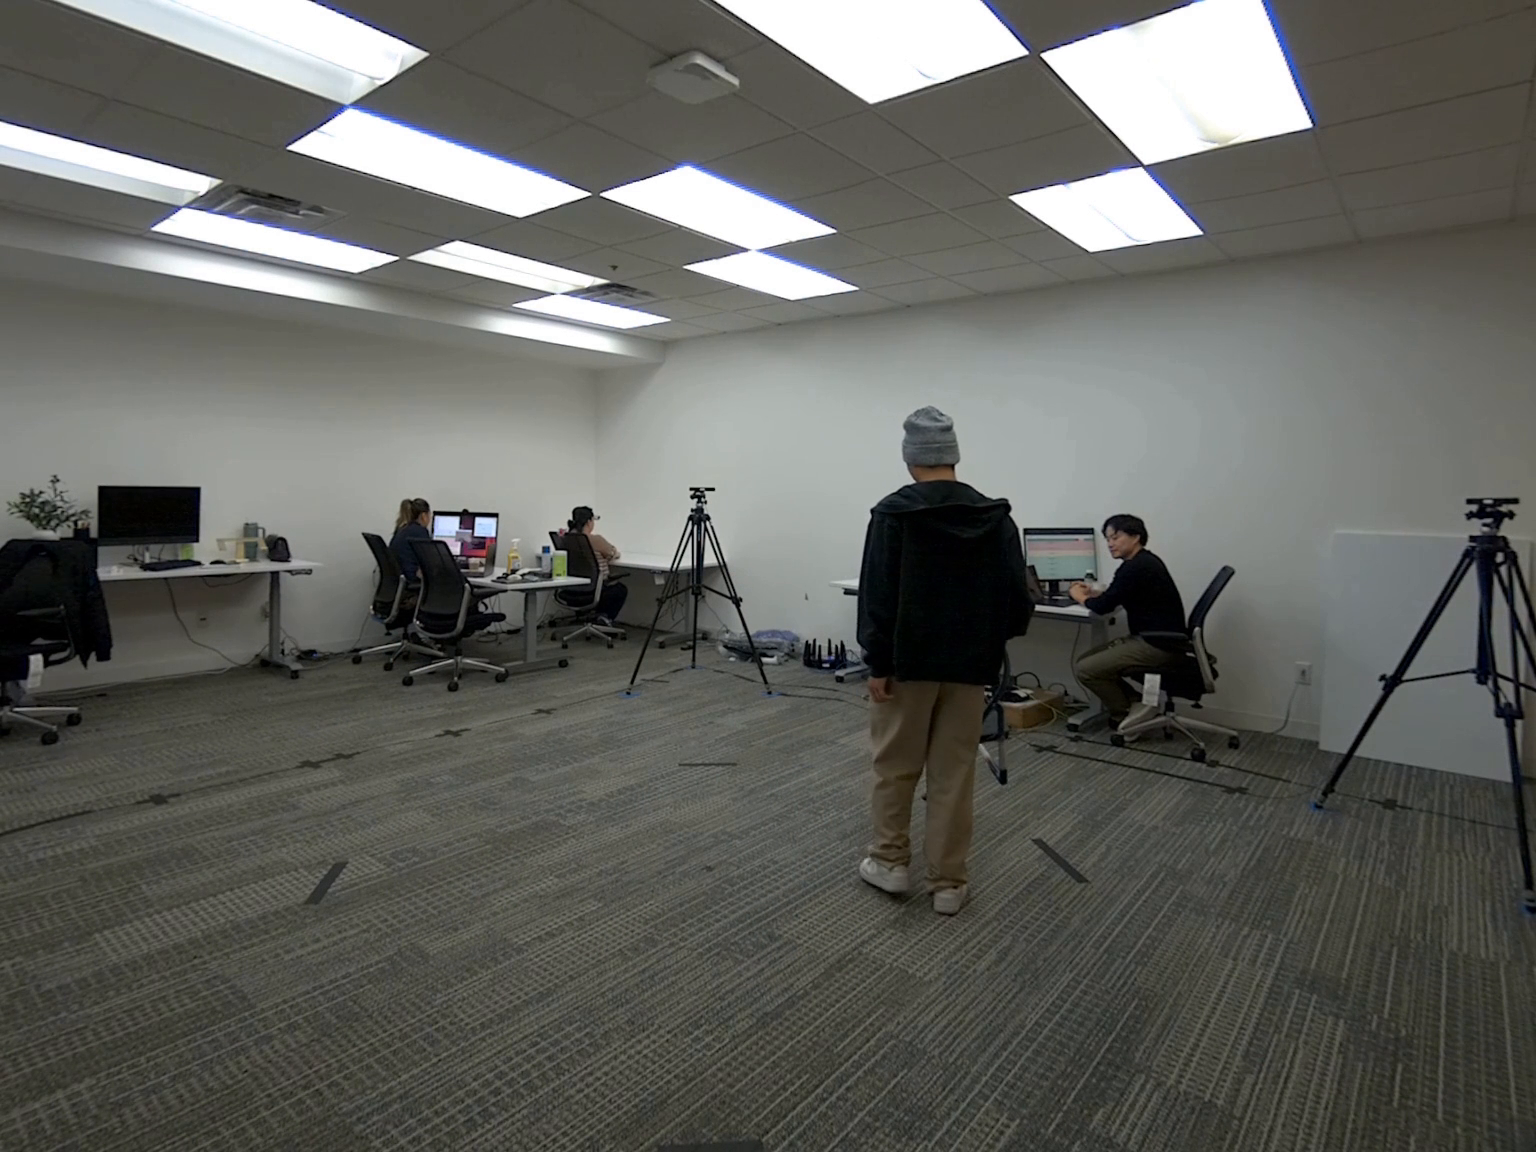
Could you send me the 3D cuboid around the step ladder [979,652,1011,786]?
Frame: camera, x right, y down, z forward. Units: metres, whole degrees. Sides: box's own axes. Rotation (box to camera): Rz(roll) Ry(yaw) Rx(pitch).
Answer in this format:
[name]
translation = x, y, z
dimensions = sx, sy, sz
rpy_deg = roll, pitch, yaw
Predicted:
[step ladder]
translation = 0.725, 0.449, 3.242
dimensions = 0.344, 0.591, 0.447
rpy_deg = -7, 34, -16
